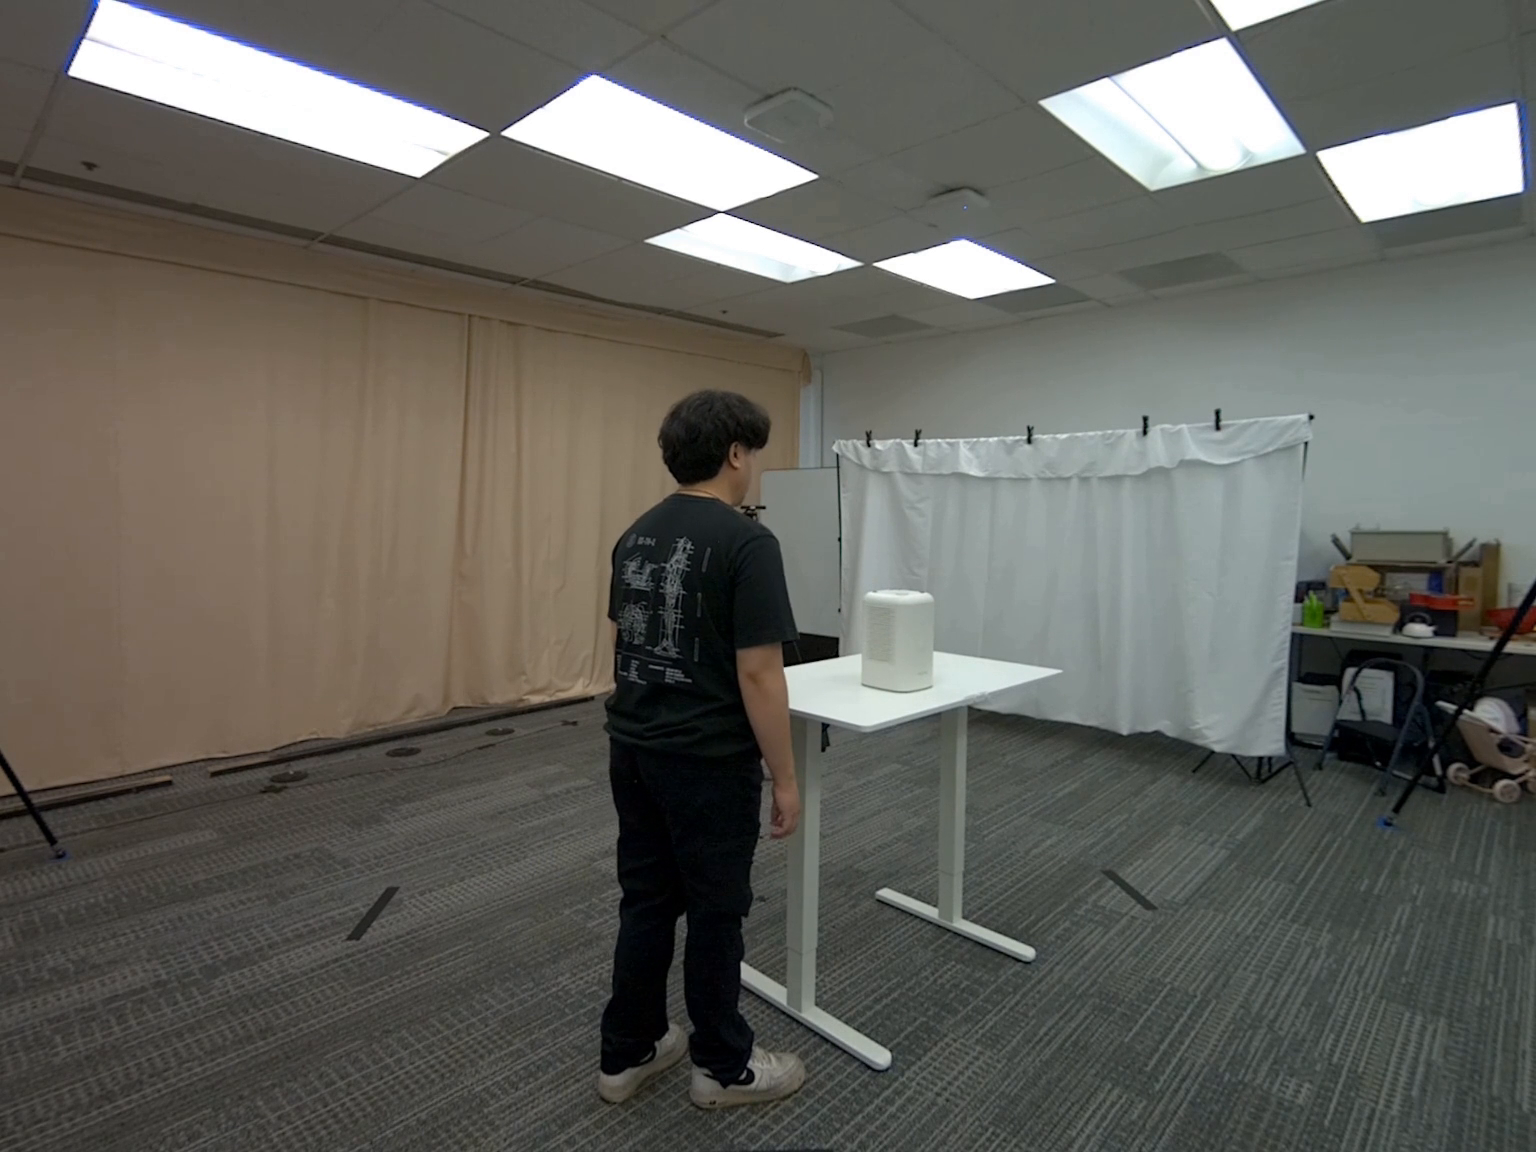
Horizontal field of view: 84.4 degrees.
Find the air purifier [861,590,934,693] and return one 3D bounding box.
[{"bbox_3d":[0.374,0.177,2.370,0.166,0.265,0.177,-3,4,-43],"label":"air purifier"}]
